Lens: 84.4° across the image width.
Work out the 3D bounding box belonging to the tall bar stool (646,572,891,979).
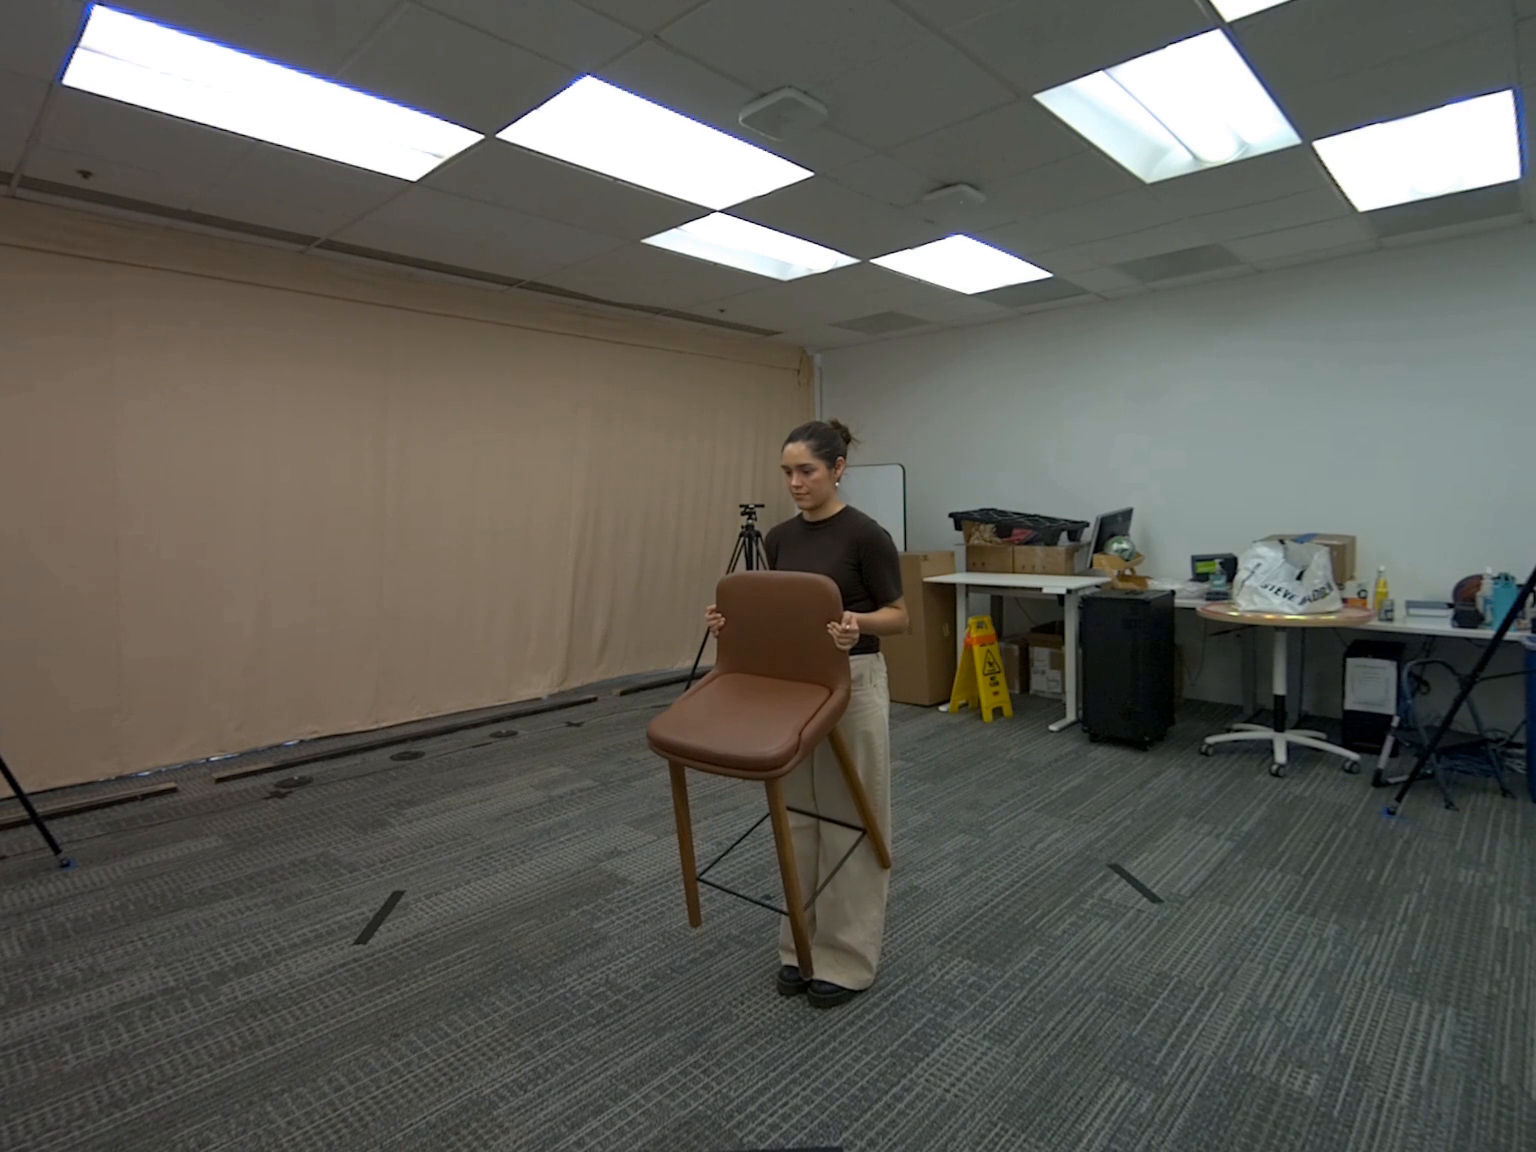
[{"bbox_3d":[-0.009,0.489,2.206,0.472,0.878,0.458,4,21,41],"label":"tall bar stool"}]
